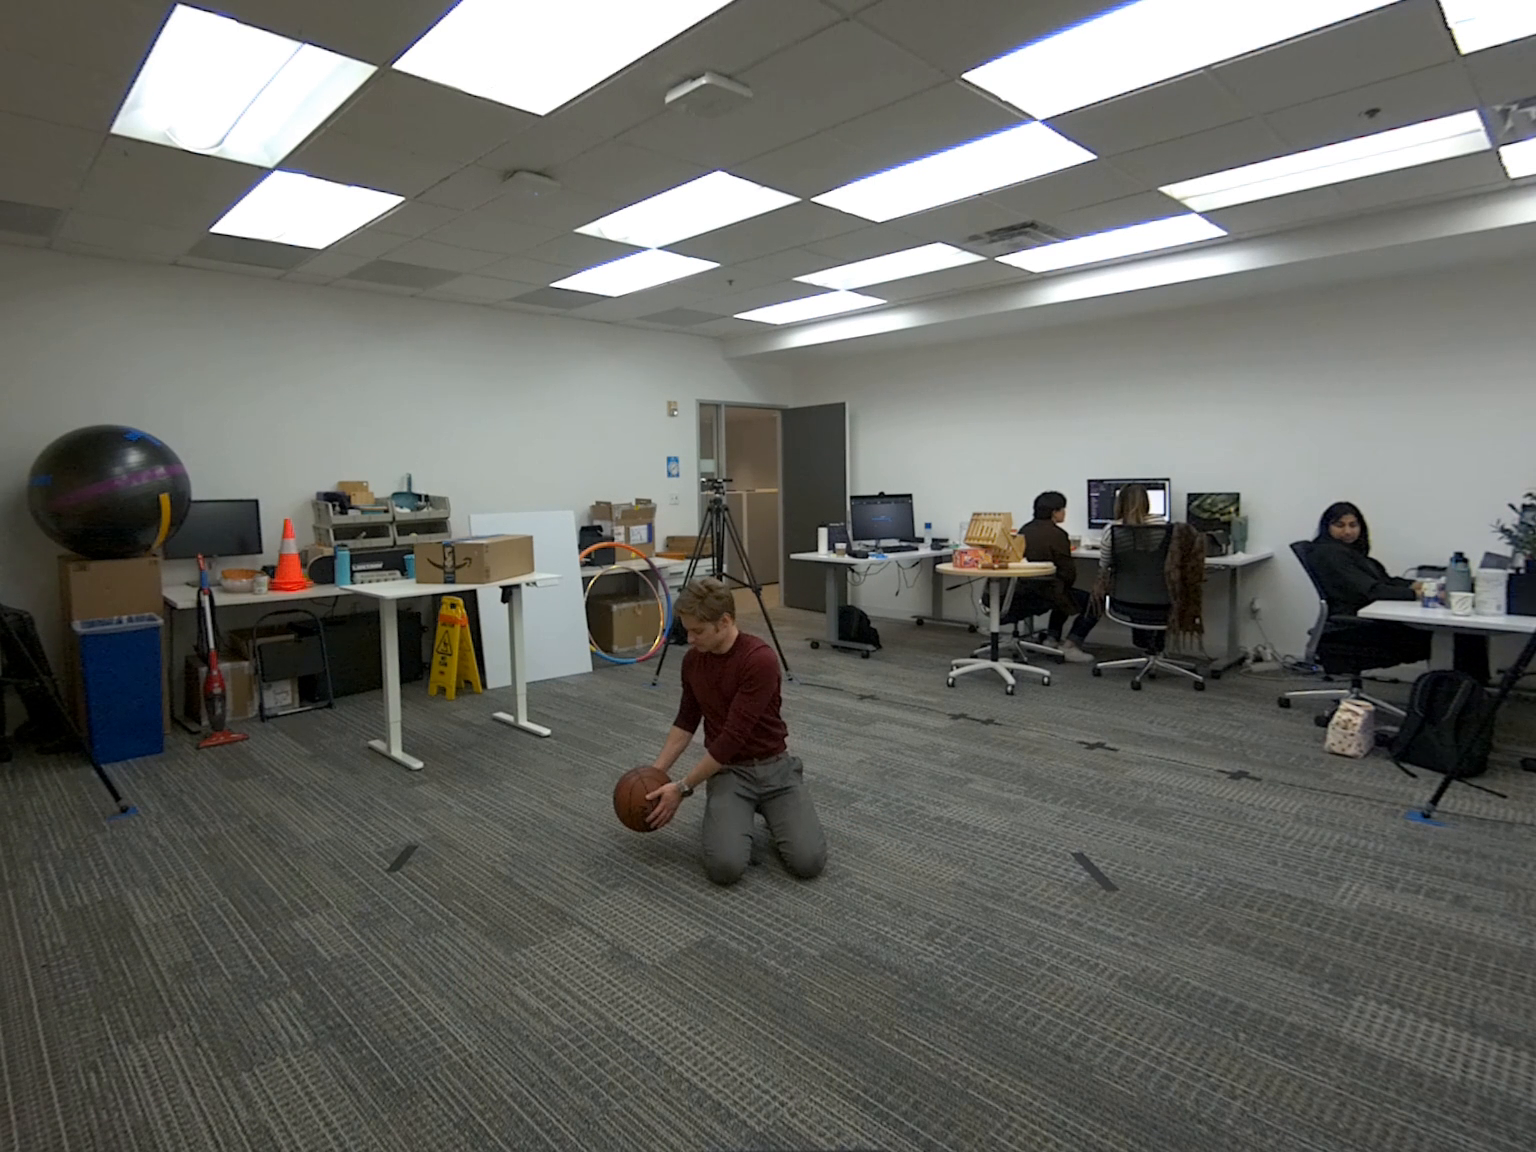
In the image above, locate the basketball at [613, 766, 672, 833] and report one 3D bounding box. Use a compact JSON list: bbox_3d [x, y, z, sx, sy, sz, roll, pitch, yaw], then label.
[{"bbox_3d":[-0.452,0.828,3.186,0.236,0.235,0.237,-1,5,-2],"label":"basketball"}]
